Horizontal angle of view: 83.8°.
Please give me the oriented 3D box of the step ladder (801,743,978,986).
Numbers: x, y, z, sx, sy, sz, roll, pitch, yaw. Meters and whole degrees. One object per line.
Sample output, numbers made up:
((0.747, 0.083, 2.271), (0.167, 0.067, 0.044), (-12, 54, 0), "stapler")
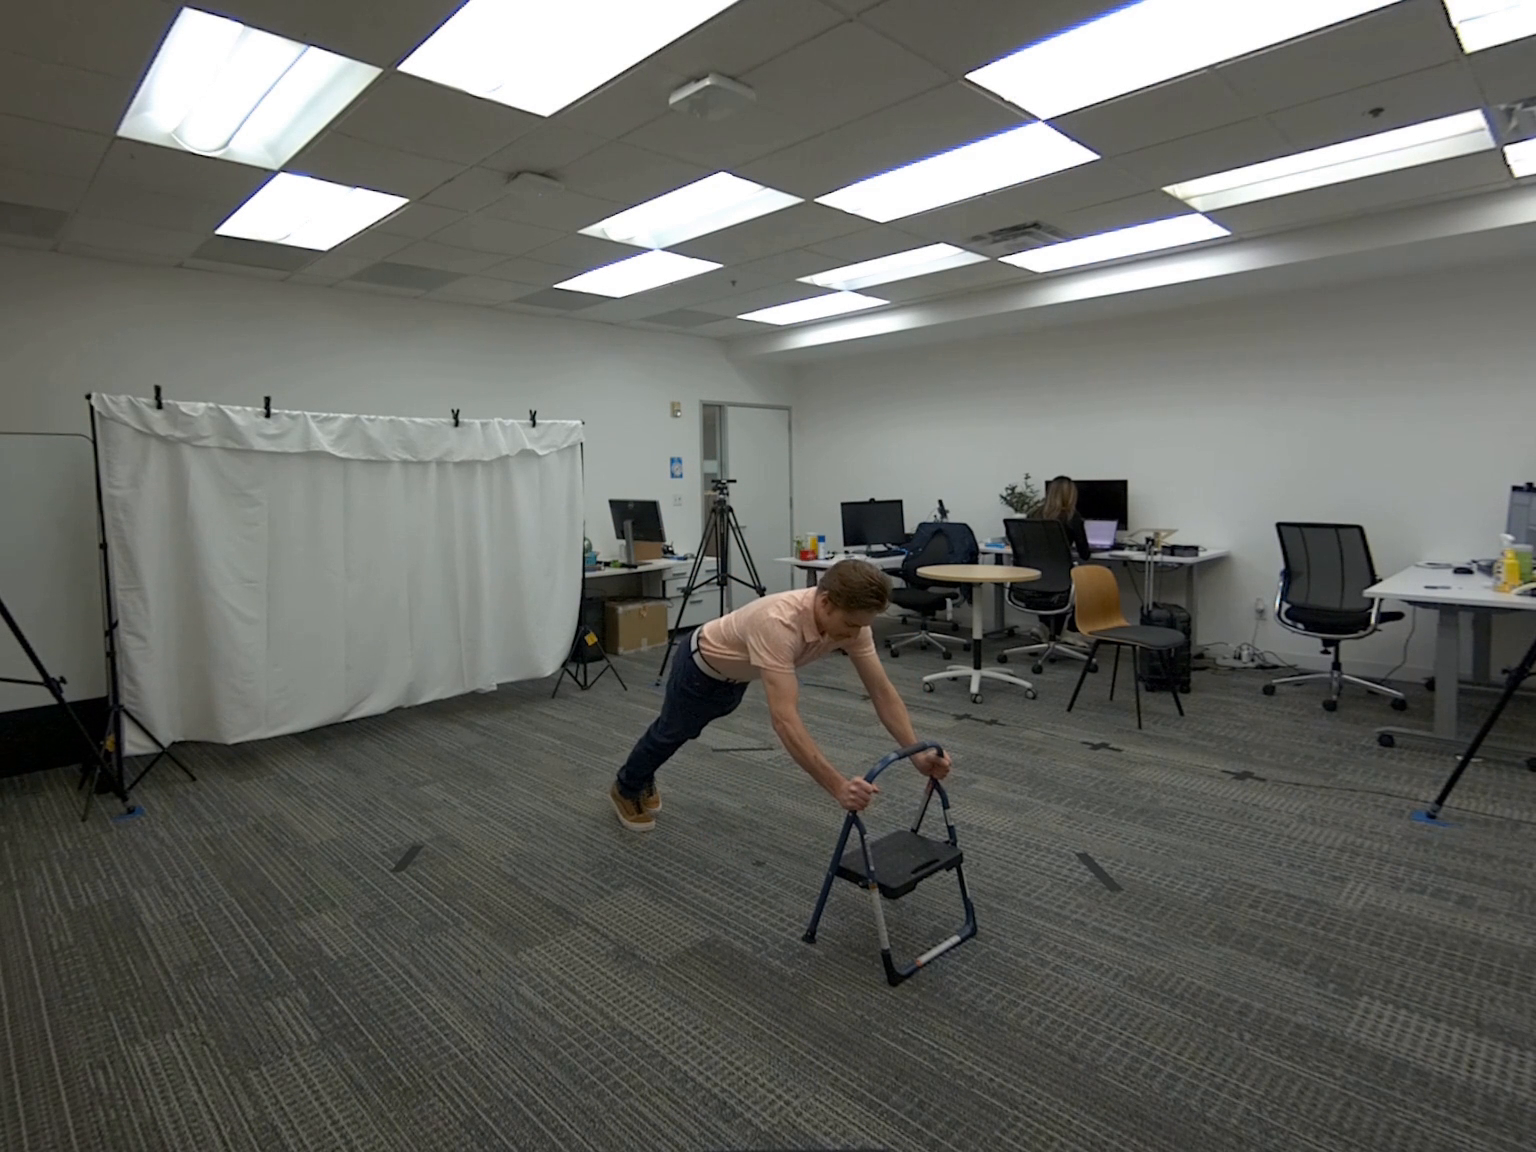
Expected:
((0.374, 0.800, 2.583), (0.419, 0.604, 0.360), (-6, 6, -43), "step ladder")
